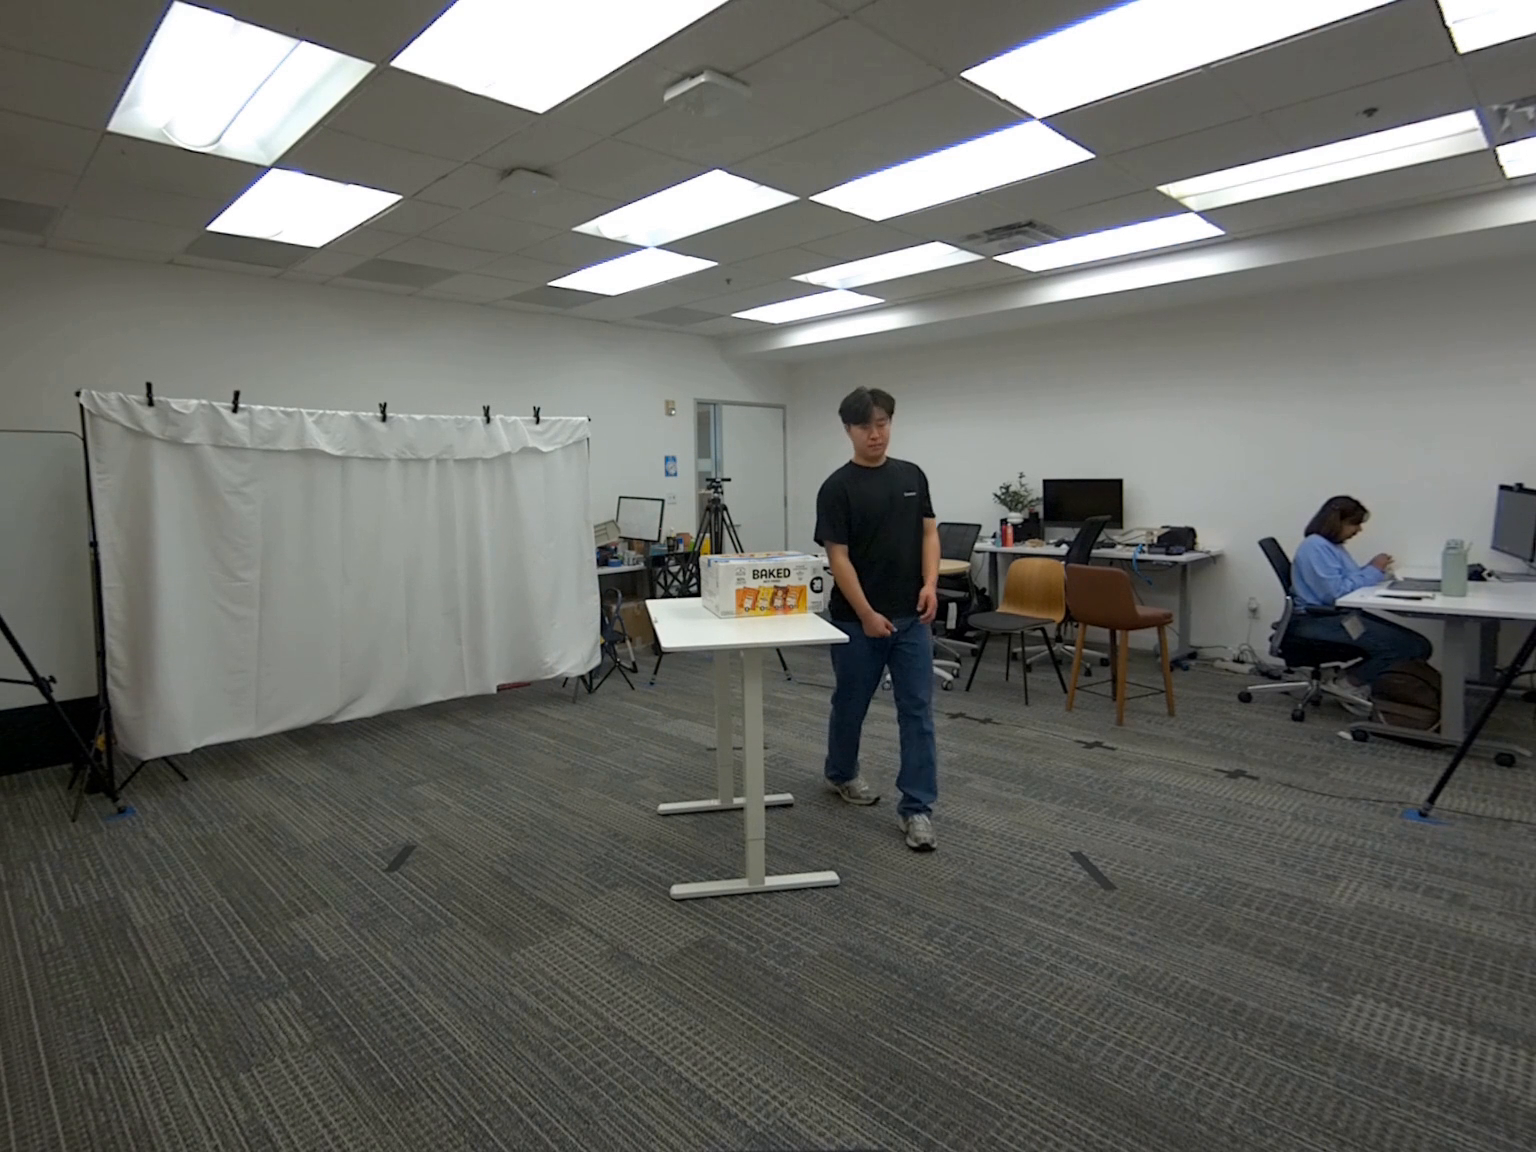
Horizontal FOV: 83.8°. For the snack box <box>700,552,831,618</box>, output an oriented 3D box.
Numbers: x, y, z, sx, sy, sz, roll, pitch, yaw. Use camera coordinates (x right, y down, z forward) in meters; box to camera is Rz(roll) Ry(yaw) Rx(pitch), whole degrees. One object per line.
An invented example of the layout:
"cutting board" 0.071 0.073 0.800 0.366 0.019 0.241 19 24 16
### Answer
"snack box" -0.029 0.027 3.338 0.400 0.205 0.346 -3 6 -14
